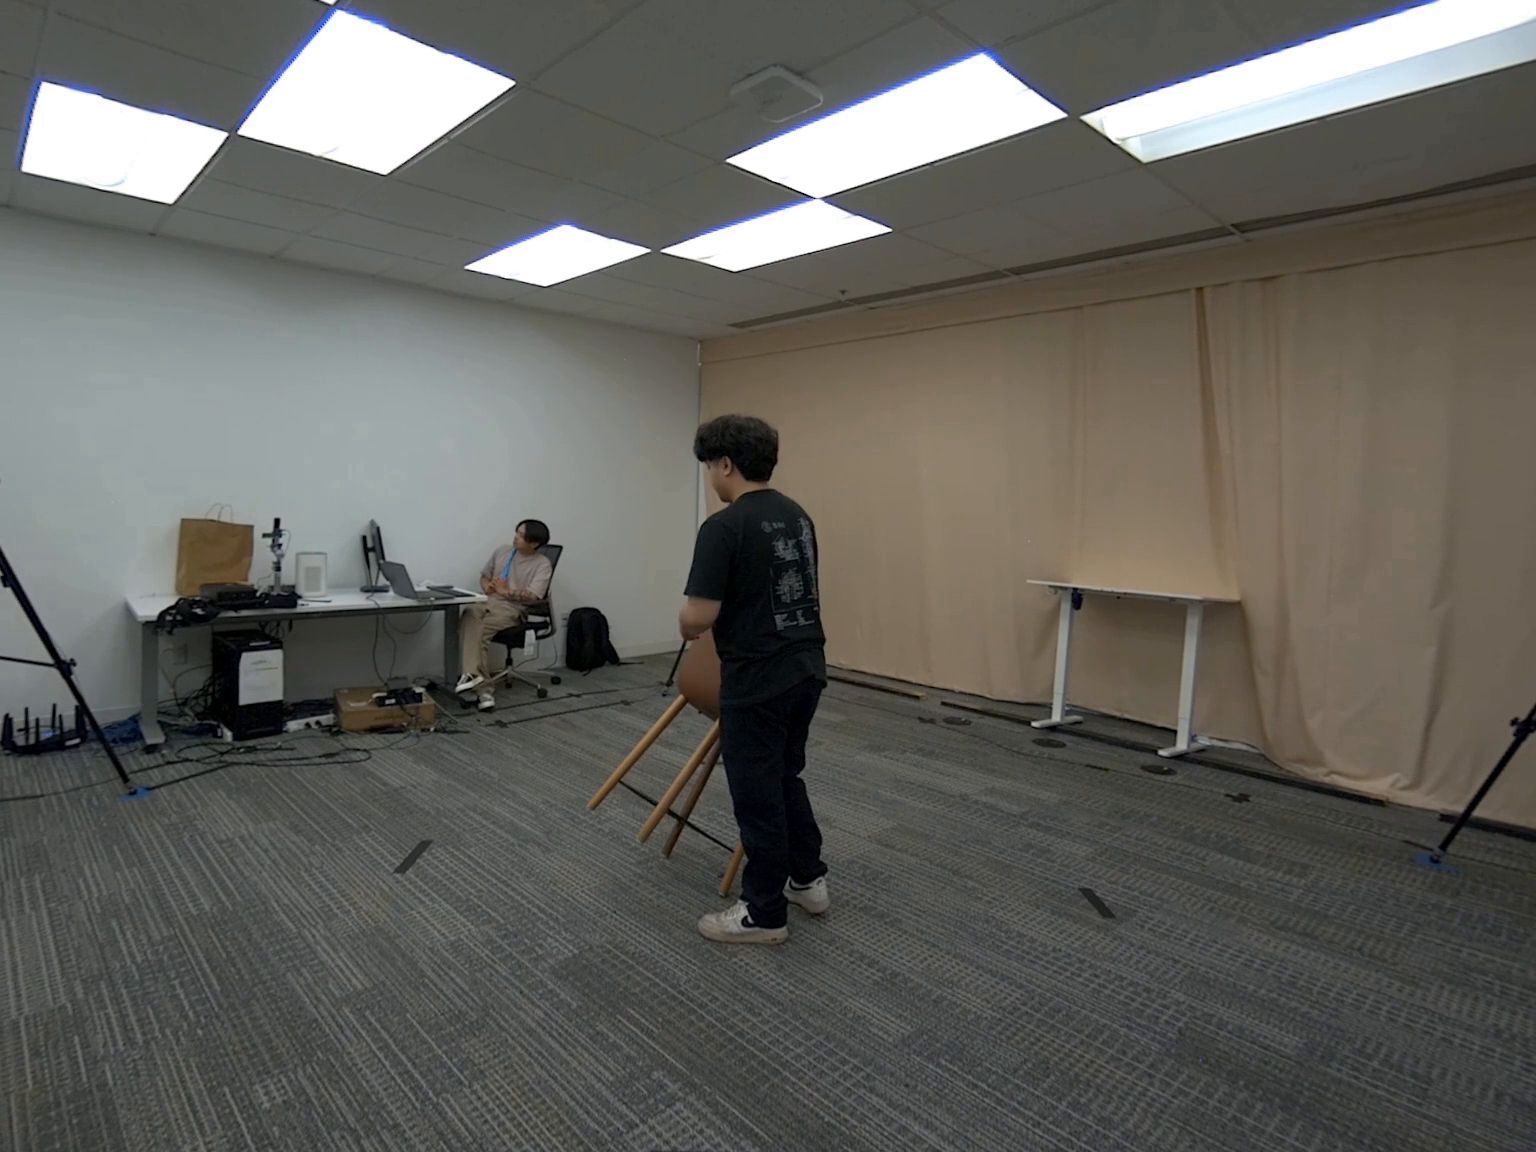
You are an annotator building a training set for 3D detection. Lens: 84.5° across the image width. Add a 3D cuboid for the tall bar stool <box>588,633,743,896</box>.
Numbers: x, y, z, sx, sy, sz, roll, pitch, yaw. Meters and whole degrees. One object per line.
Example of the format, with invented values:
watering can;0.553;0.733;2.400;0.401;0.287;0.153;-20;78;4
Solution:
tall bar stool;-0.206;0.620;3.129;0.454;0.893;0.468;41;-22;-33
